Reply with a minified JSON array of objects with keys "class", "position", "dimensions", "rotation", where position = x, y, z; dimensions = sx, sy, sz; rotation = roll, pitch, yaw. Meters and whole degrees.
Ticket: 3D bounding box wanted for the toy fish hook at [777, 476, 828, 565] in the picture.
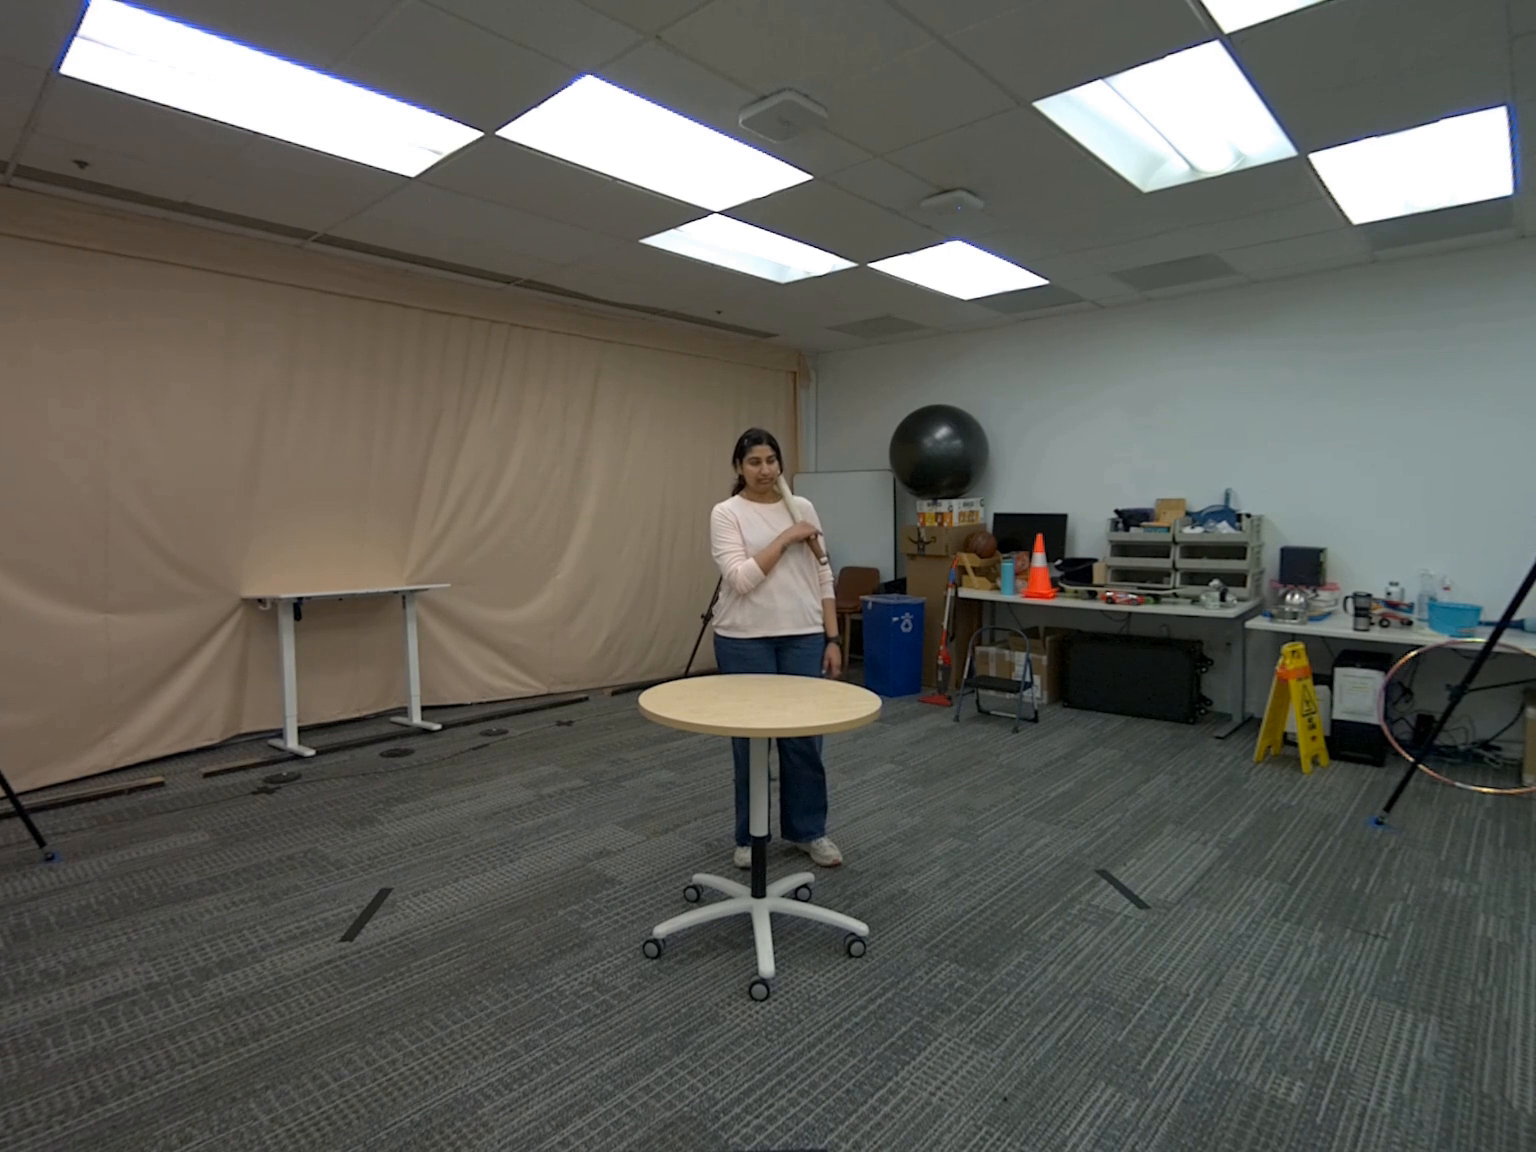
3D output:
[{"class":"toy fish hook","position":[0.104,-0.221,3.347],"dimensions":[0.048,0.519,0.221],"rotation":[-18,-27,-13]}]
